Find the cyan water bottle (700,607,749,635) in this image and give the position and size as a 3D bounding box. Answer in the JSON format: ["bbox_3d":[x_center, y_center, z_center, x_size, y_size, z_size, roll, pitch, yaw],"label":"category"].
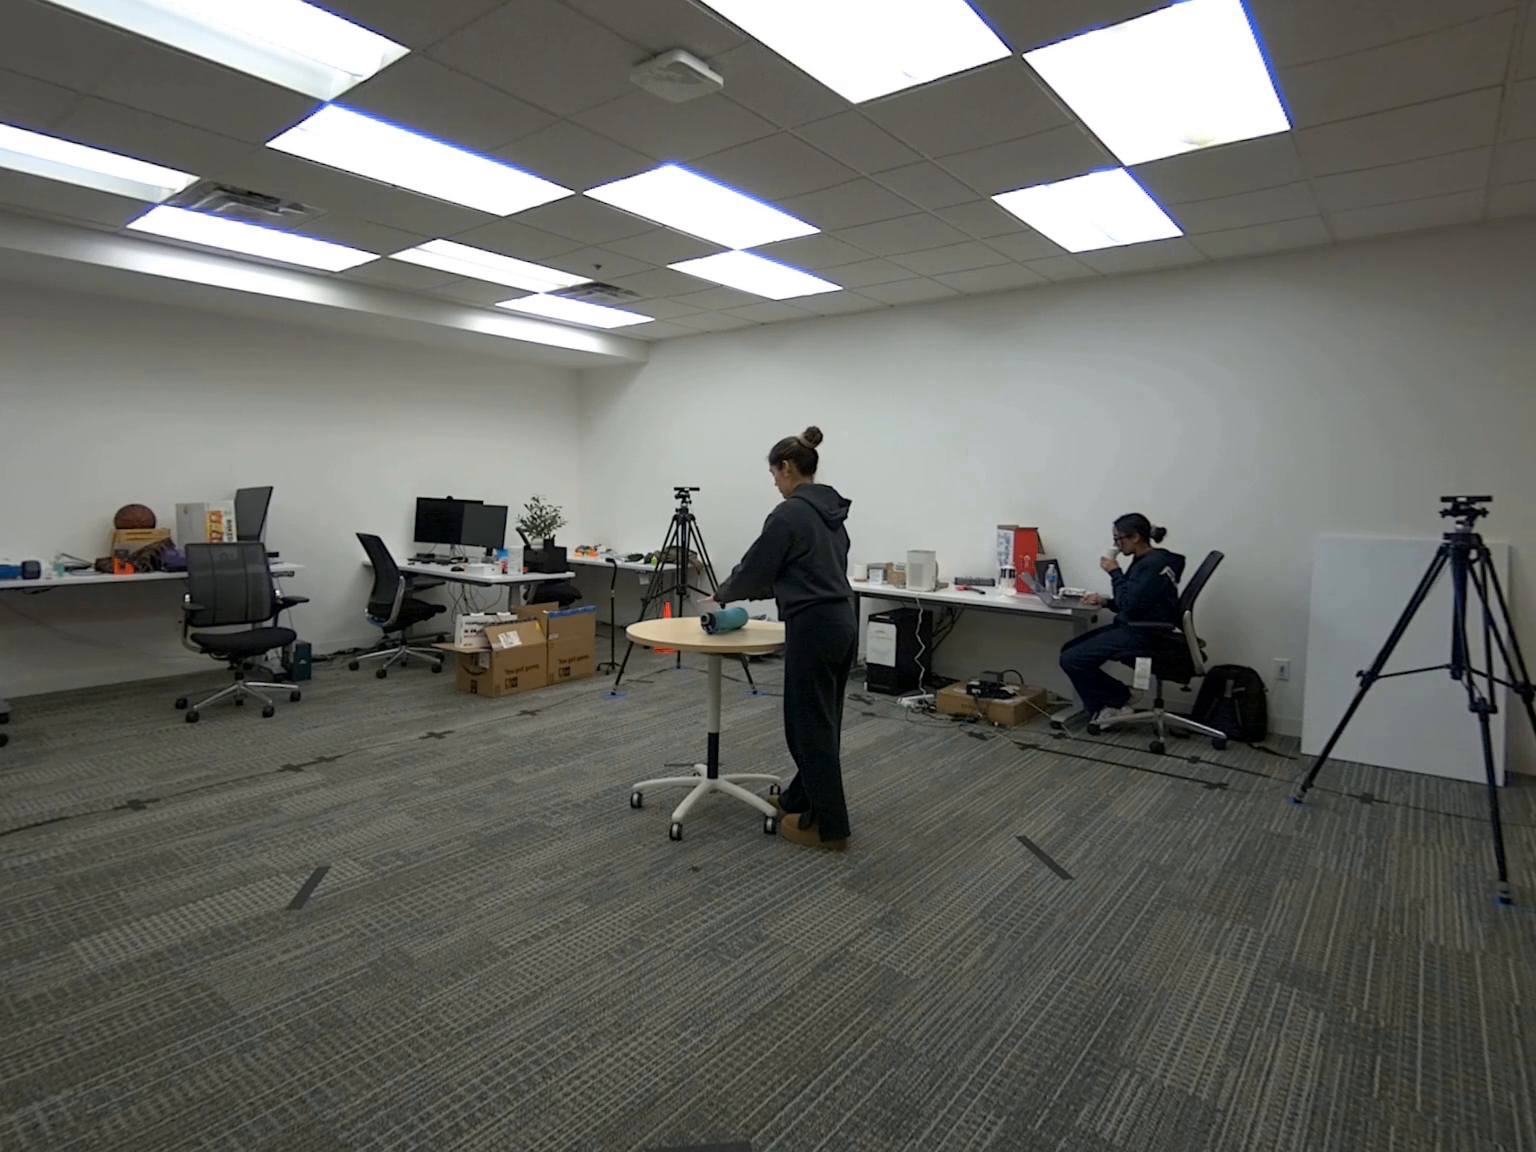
[{"bbox_3d":[-0.197,0.184,3.643,0.095,0.092,0.276,3,4,30],"label":"cyan water bottle"}]
